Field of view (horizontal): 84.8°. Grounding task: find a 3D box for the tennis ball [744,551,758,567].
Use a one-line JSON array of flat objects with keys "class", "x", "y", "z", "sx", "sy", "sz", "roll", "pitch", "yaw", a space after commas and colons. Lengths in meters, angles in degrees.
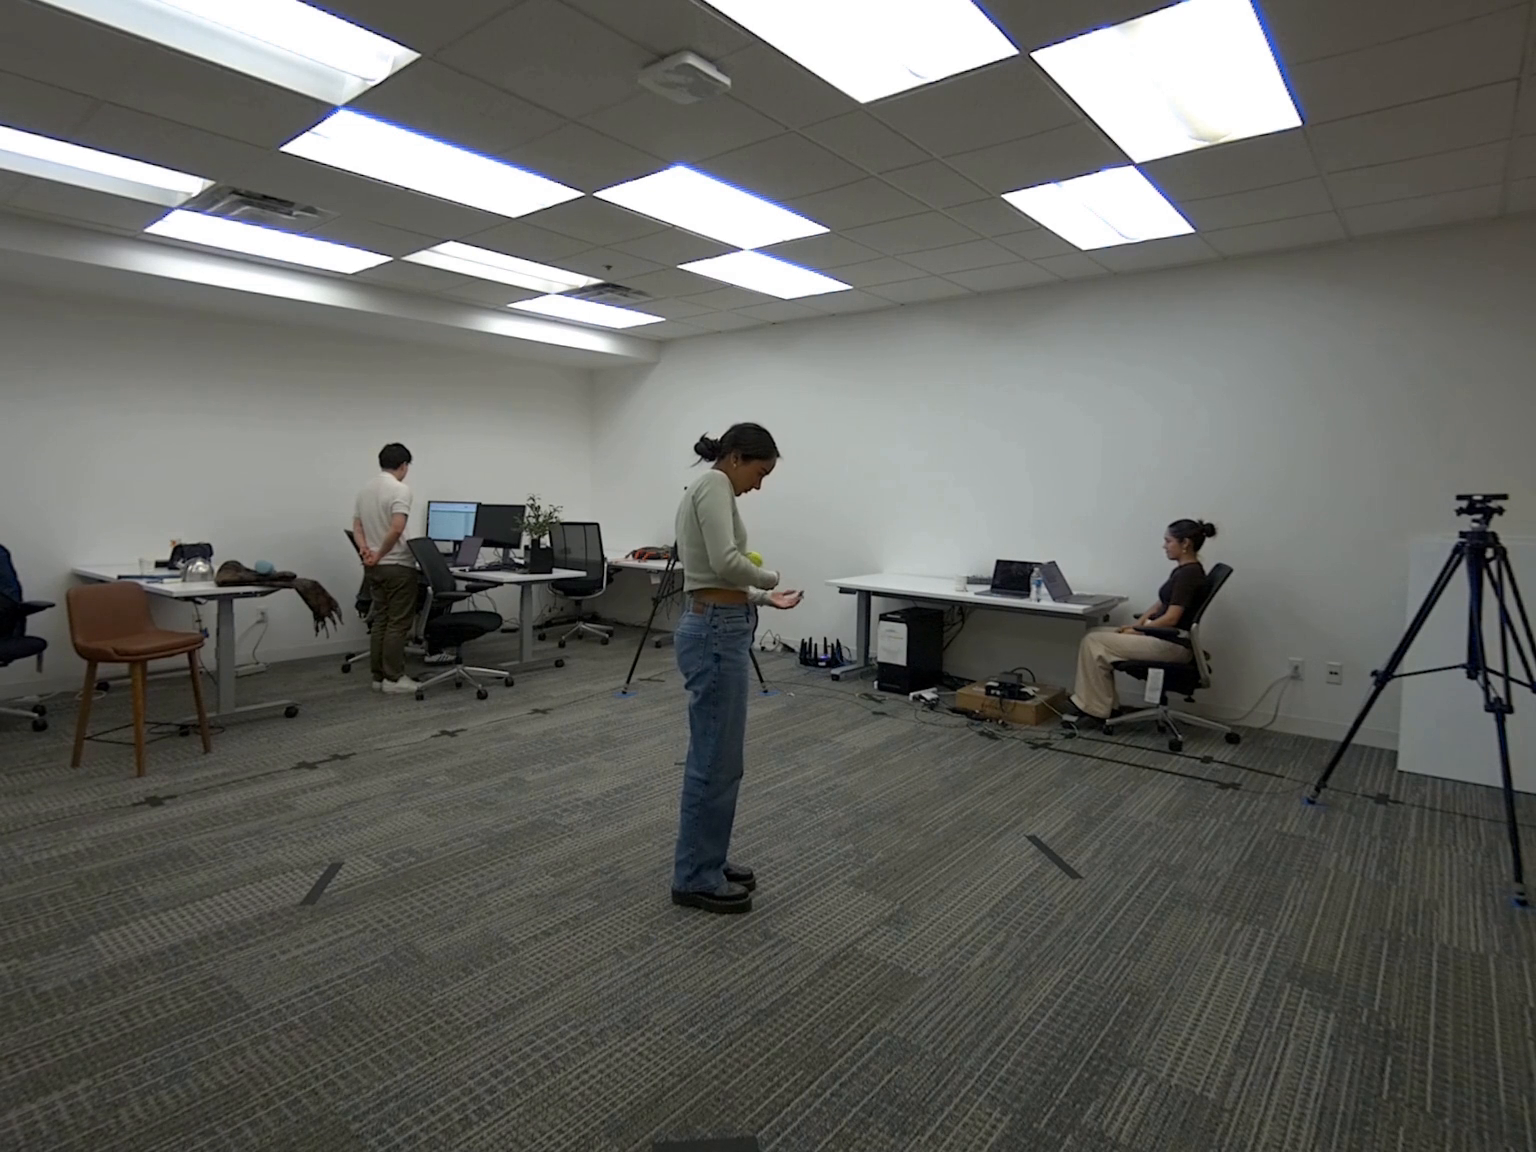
[{"class": "tennis ball", "x": -0.098, "y": -0.049, "z": 2.775, "sx": 0.066, "sy": 0.066, "sz": 0.067, "roll": 1, "pitch": 4, "yaw": -2}]
